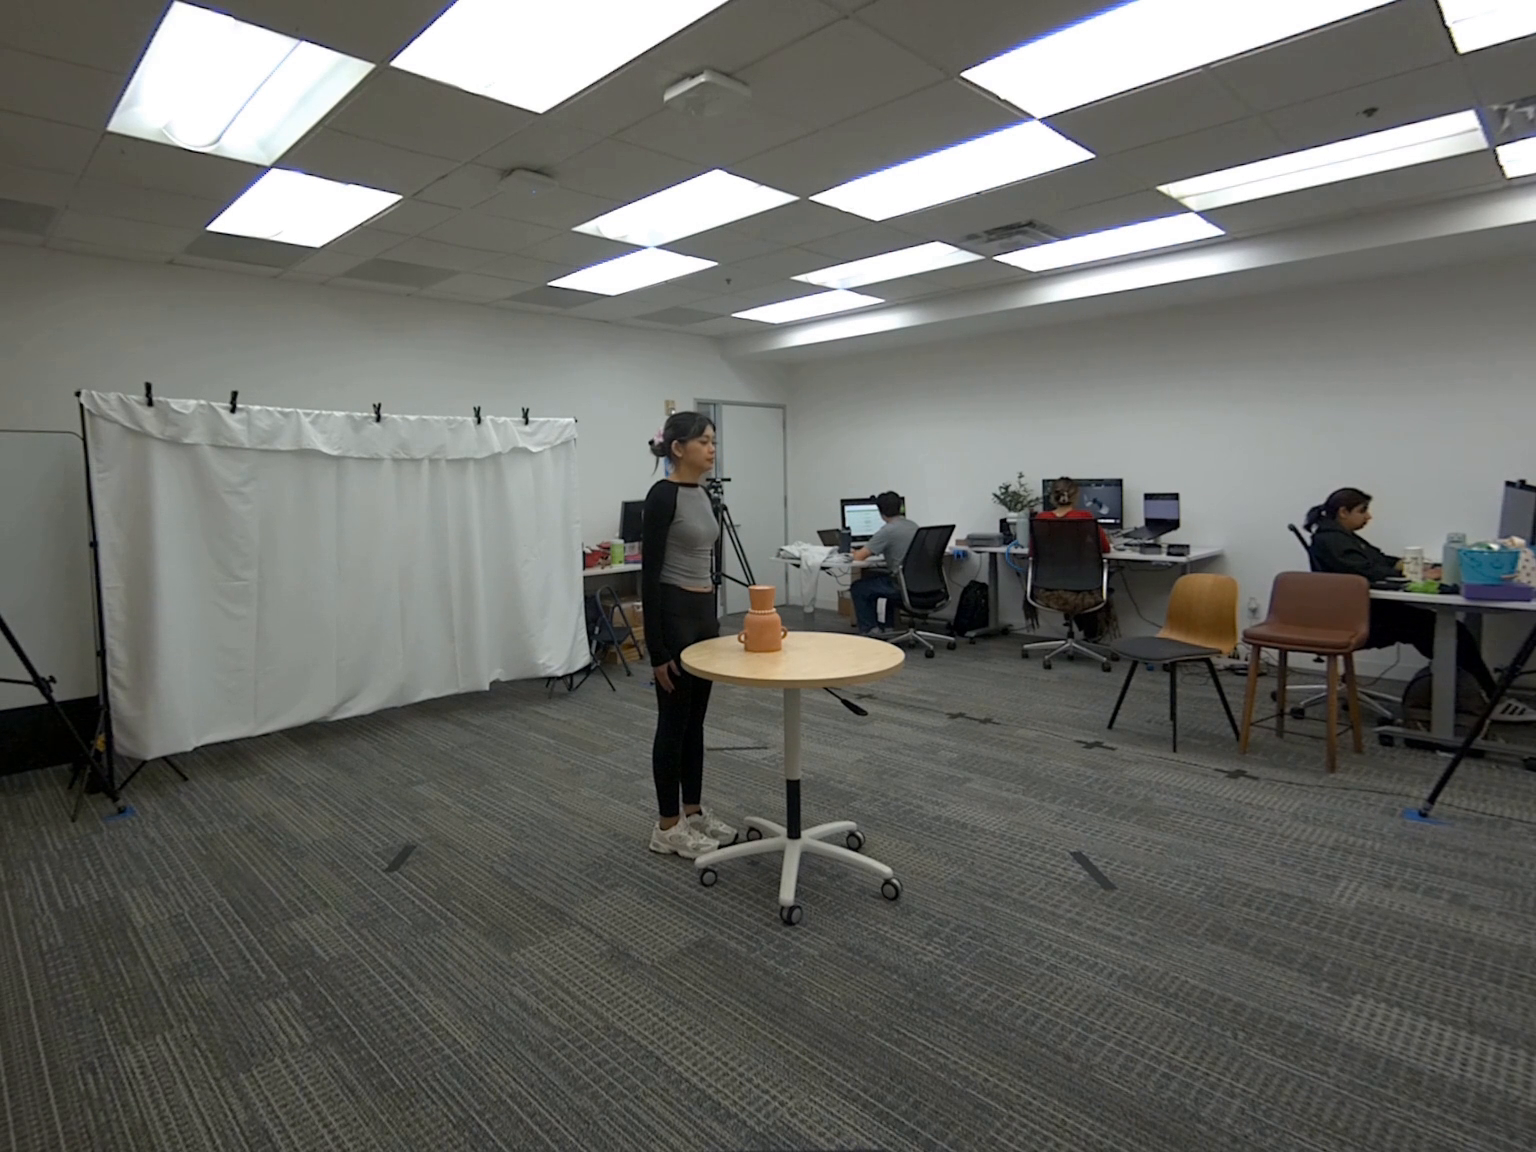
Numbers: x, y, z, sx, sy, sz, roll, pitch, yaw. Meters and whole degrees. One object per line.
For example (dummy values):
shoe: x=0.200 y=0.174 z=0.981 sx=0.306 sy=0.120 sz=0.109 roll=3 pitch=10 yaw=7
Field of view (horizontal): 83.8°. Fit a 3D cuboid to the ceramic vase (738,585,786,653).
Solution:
ceramic vase: x=-0.017 y=0.149 z=3.013 sx=0.137 sy=0.219 sz=0.156 roll=1 pitch=5 yaw=23
